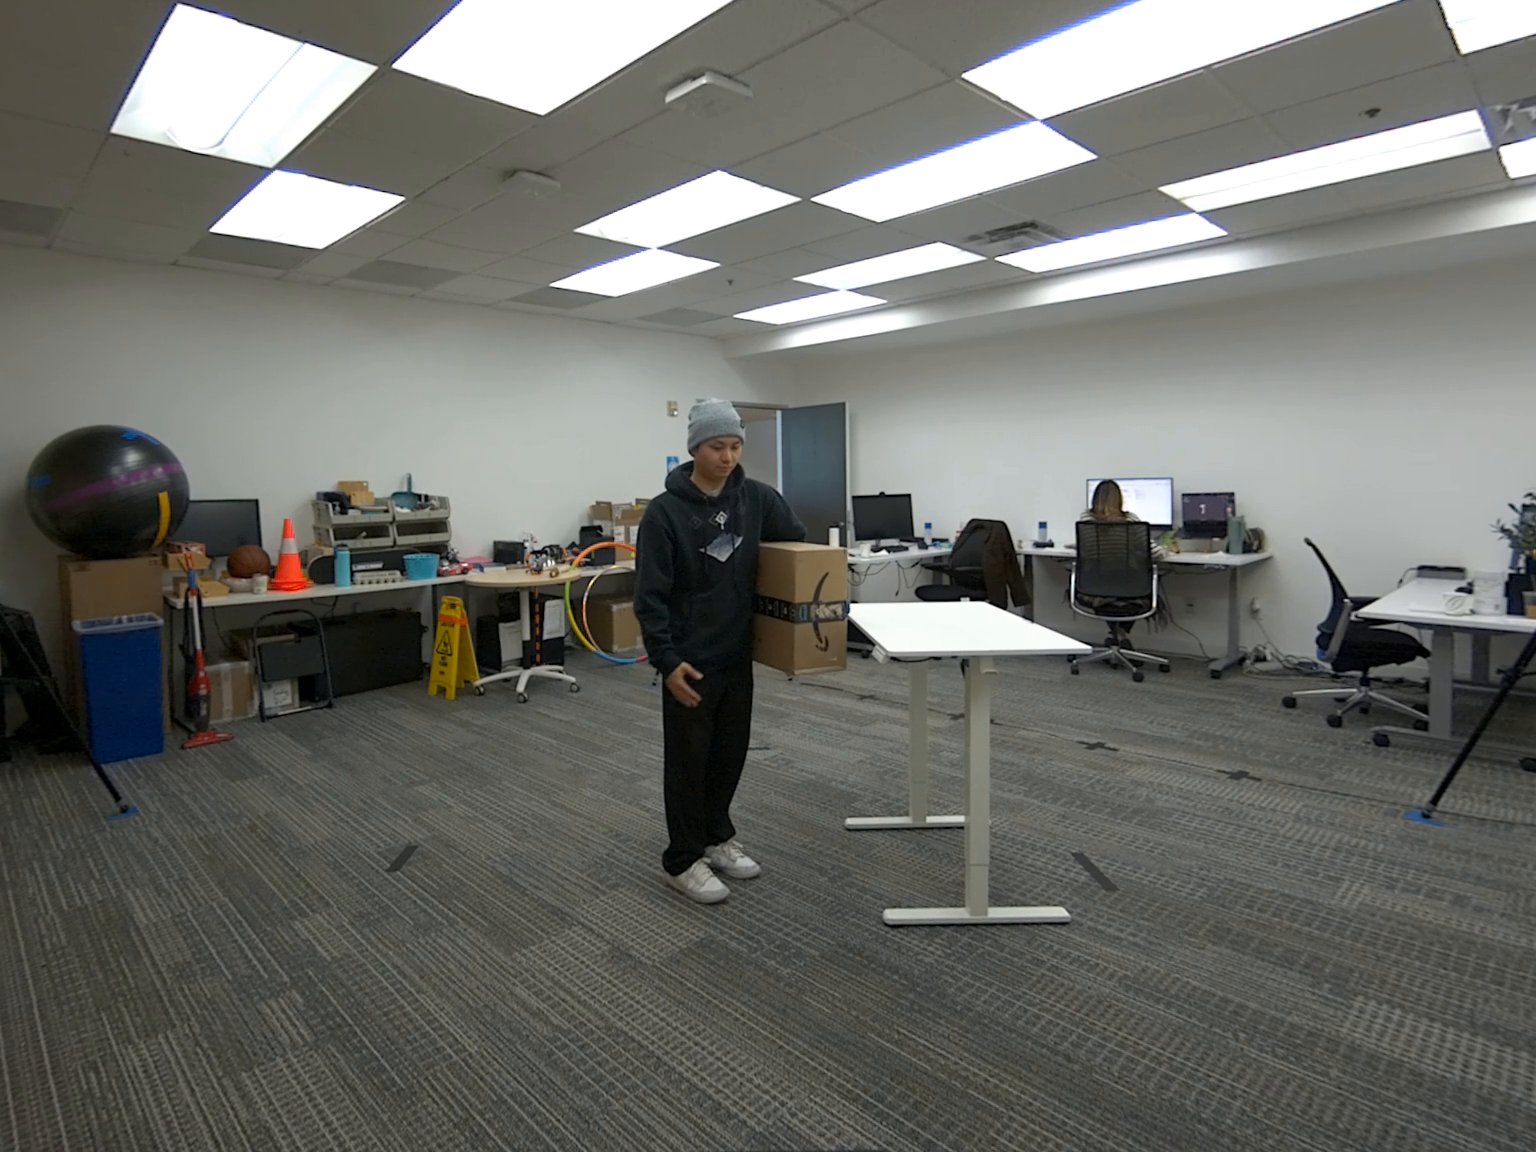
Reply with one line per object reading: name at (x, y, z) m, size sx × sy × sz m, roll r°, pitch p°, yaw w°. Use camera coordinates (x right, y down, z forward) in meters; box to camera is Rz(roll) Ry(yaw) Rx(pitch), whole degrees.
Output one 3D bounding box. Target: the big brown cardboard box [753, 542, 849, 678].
big brown cardboard box at (0.034, 0.090, 3.079) m, size 0.227 × 0.416 × 0.606 m, roll -1°, pitch 6°, yaw -31°
